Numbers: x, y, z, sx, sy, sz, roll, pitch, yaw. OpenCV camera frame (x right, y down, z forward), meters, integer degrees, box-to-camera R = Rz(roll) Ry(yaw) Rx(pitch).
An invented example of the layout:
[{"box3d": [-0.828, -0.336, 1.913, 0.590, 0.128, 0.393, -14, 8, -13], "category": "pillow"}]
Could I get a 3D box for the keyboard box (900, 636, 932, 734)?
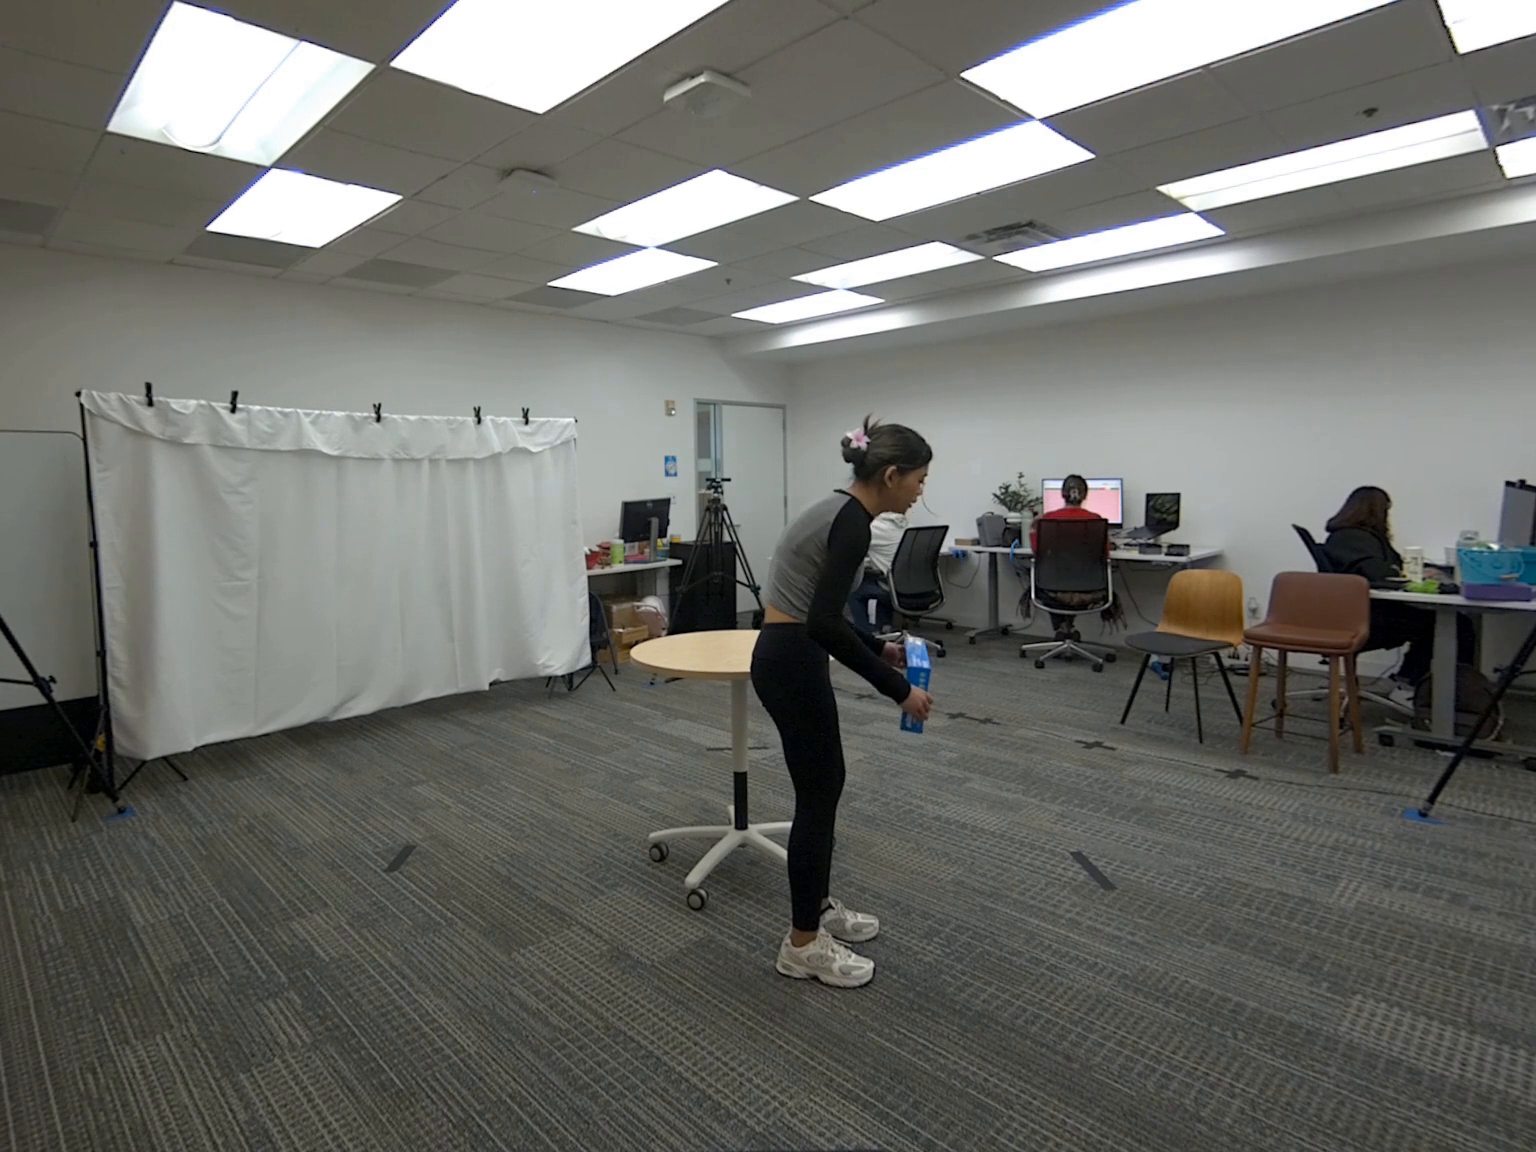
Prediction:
[{"box3d": [0.405, 0.293, 2.393, 0.060, 0.175, 0.434, 7, 6, 9], "category": "keyboard box"}]
